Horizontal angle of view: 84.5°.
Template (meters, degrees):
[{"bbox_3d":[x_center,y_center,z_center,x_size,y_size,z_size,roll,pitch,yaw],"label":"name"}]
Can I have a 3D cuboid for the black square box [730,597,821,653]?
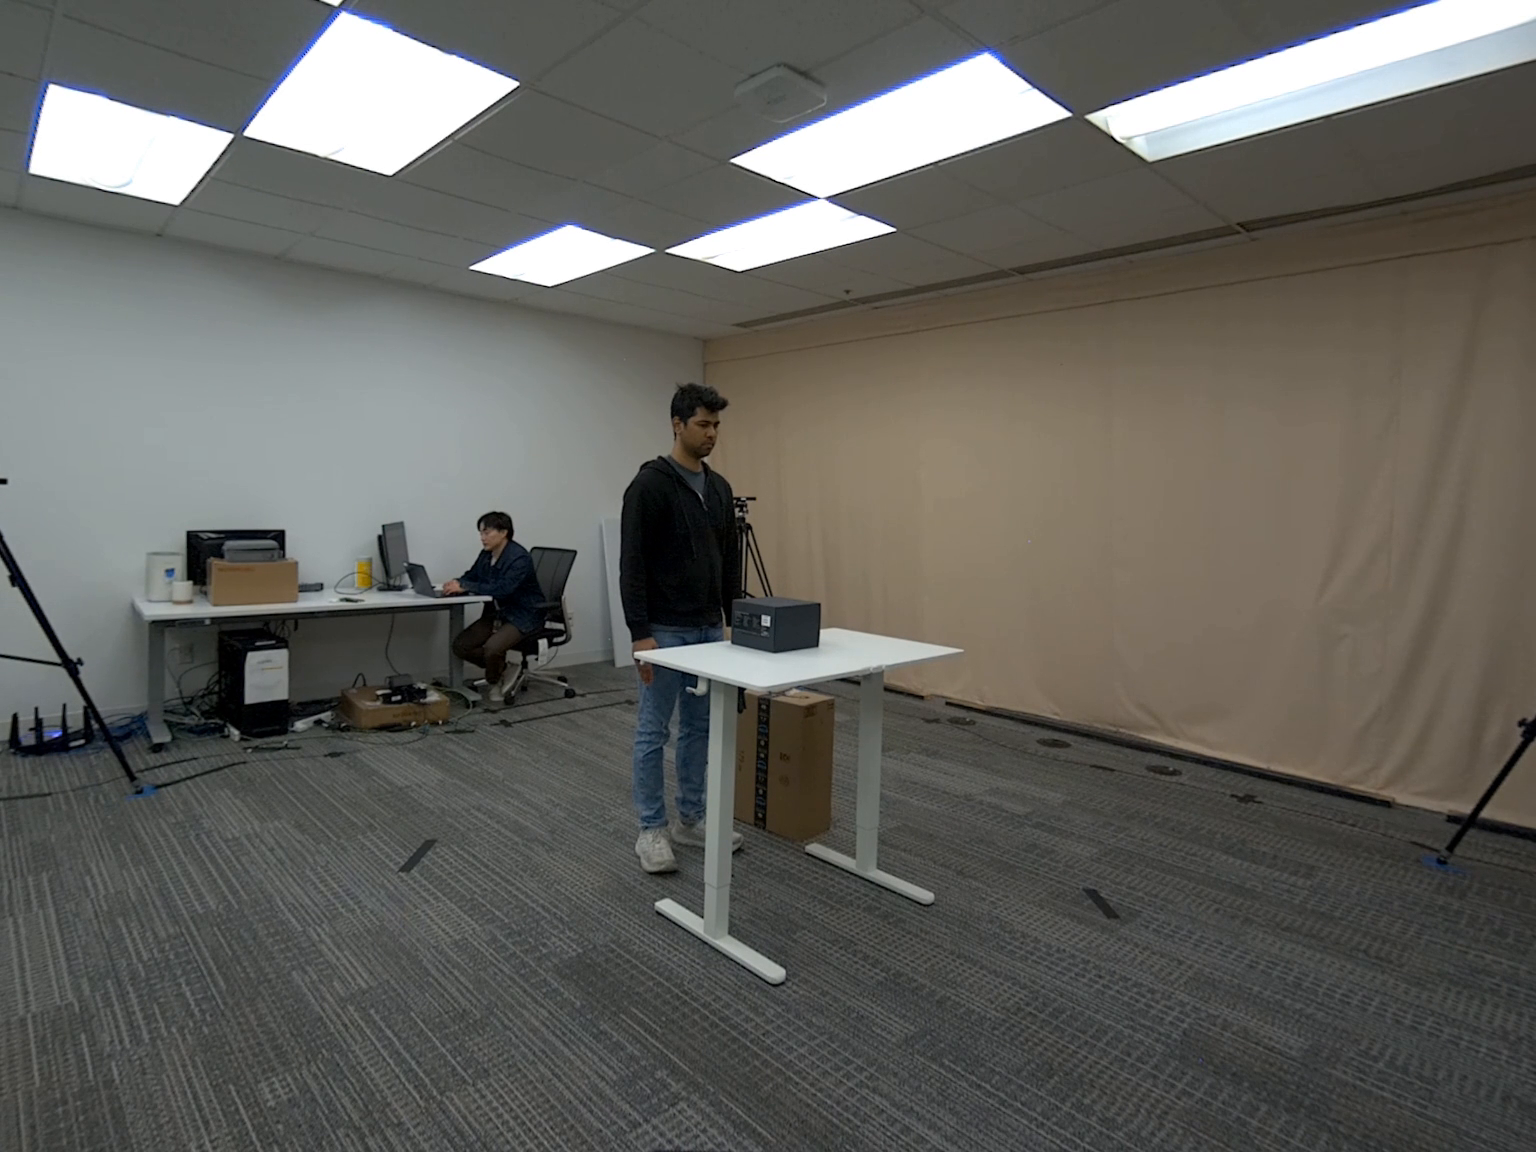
[{"bbox_3d":[0.021,0.164,2.931,0.223,0.155,0.222,-3,6,-44],"label":"black square box"}]
